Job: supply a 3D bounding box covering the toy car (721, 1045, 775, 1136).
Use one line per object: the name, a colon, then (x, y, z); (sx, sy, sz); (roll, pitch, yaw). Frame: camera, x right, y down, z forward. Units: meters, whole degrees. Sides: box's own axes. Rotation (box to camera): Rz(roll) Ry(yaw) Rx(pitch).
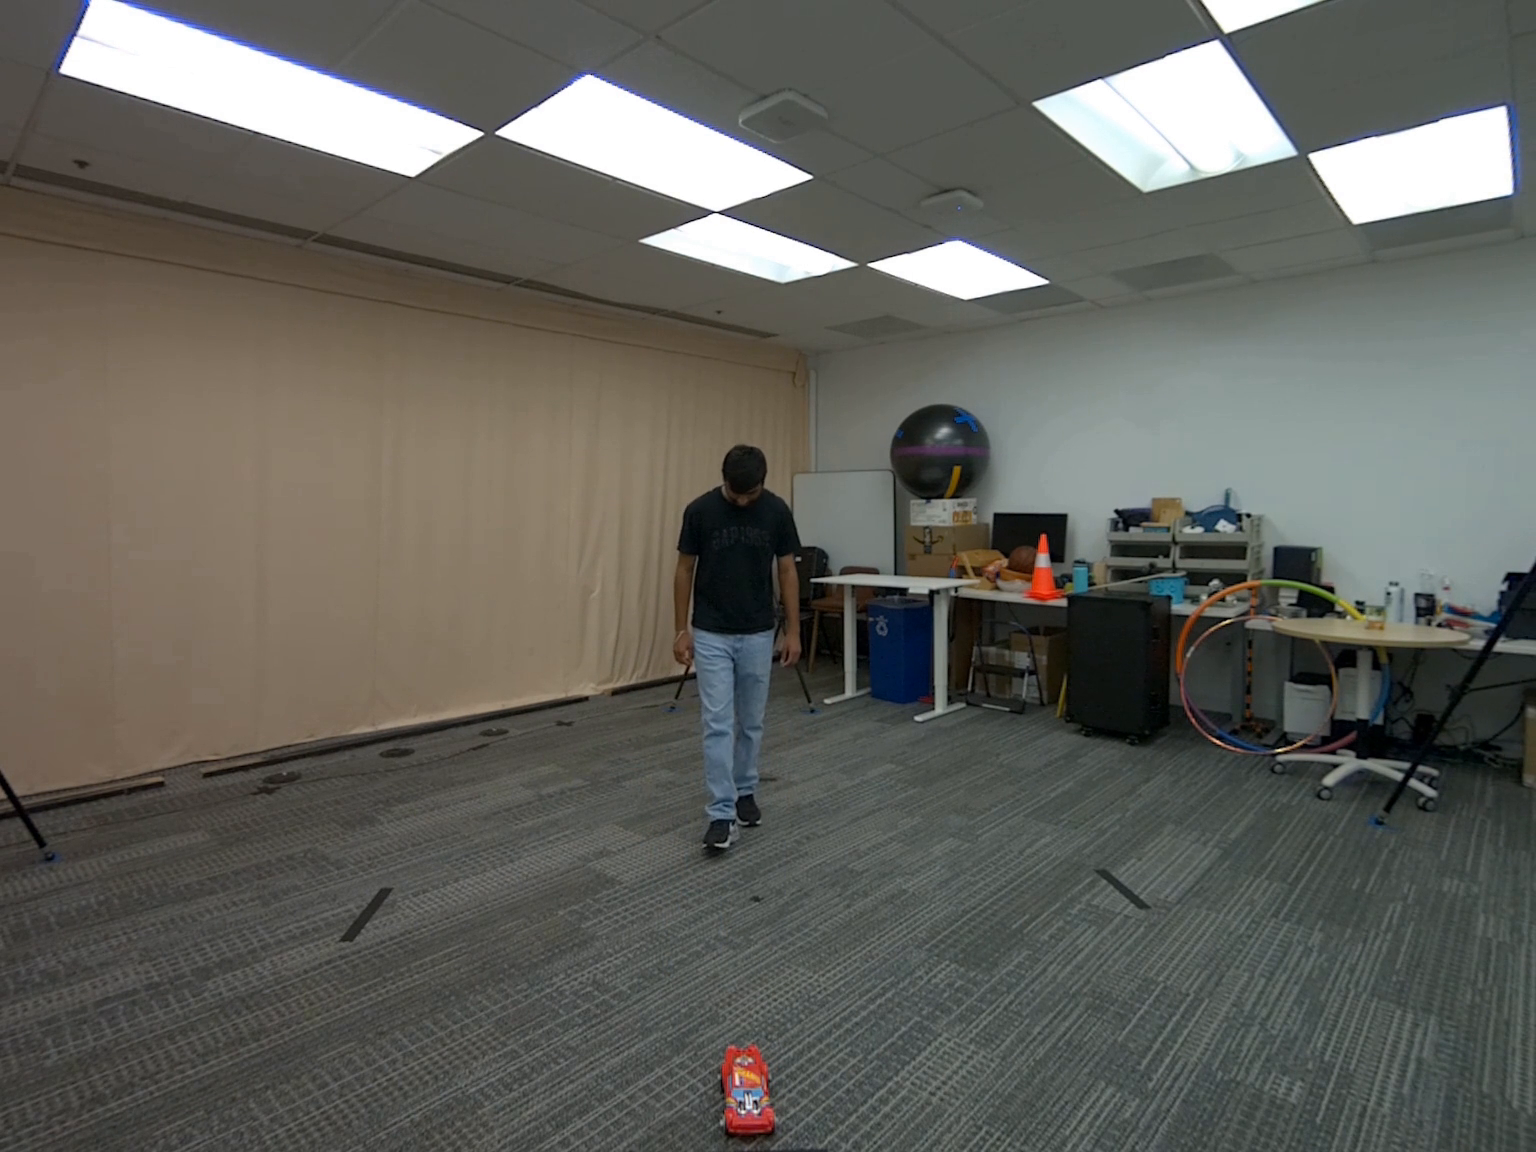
toy car: (-0.055, 1.195, 1.962); (0.130, 0.082, 0.258); (-2, 15, -5)
